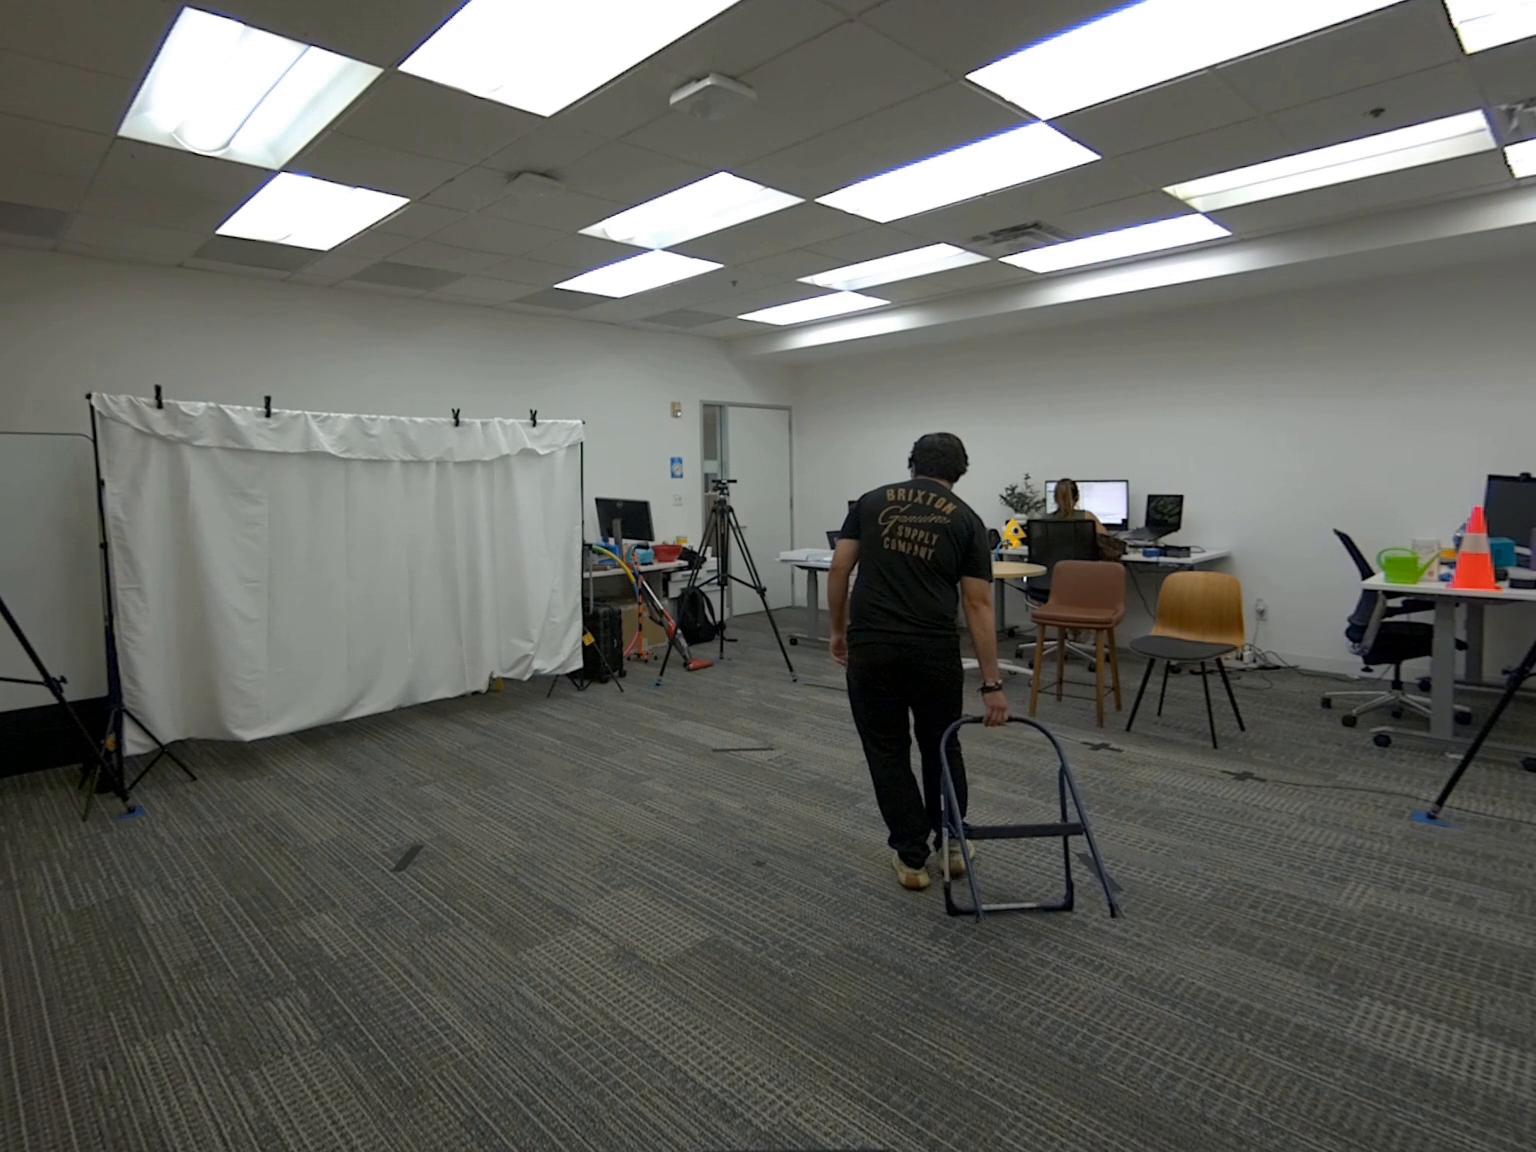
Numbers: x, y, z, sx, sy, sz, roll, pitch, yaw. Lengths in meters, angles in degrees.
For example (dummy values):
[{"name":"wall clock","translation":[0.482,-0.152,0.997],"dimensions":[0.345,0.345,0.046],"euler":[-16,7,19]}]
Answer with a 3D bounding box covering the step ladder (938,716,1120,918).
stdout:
[{"name":"step ladder","translation":[0.788,0.745,2.675],"dimensions":[0.429,0.617,0.345],"euler":[-1,-19,-4]}]
